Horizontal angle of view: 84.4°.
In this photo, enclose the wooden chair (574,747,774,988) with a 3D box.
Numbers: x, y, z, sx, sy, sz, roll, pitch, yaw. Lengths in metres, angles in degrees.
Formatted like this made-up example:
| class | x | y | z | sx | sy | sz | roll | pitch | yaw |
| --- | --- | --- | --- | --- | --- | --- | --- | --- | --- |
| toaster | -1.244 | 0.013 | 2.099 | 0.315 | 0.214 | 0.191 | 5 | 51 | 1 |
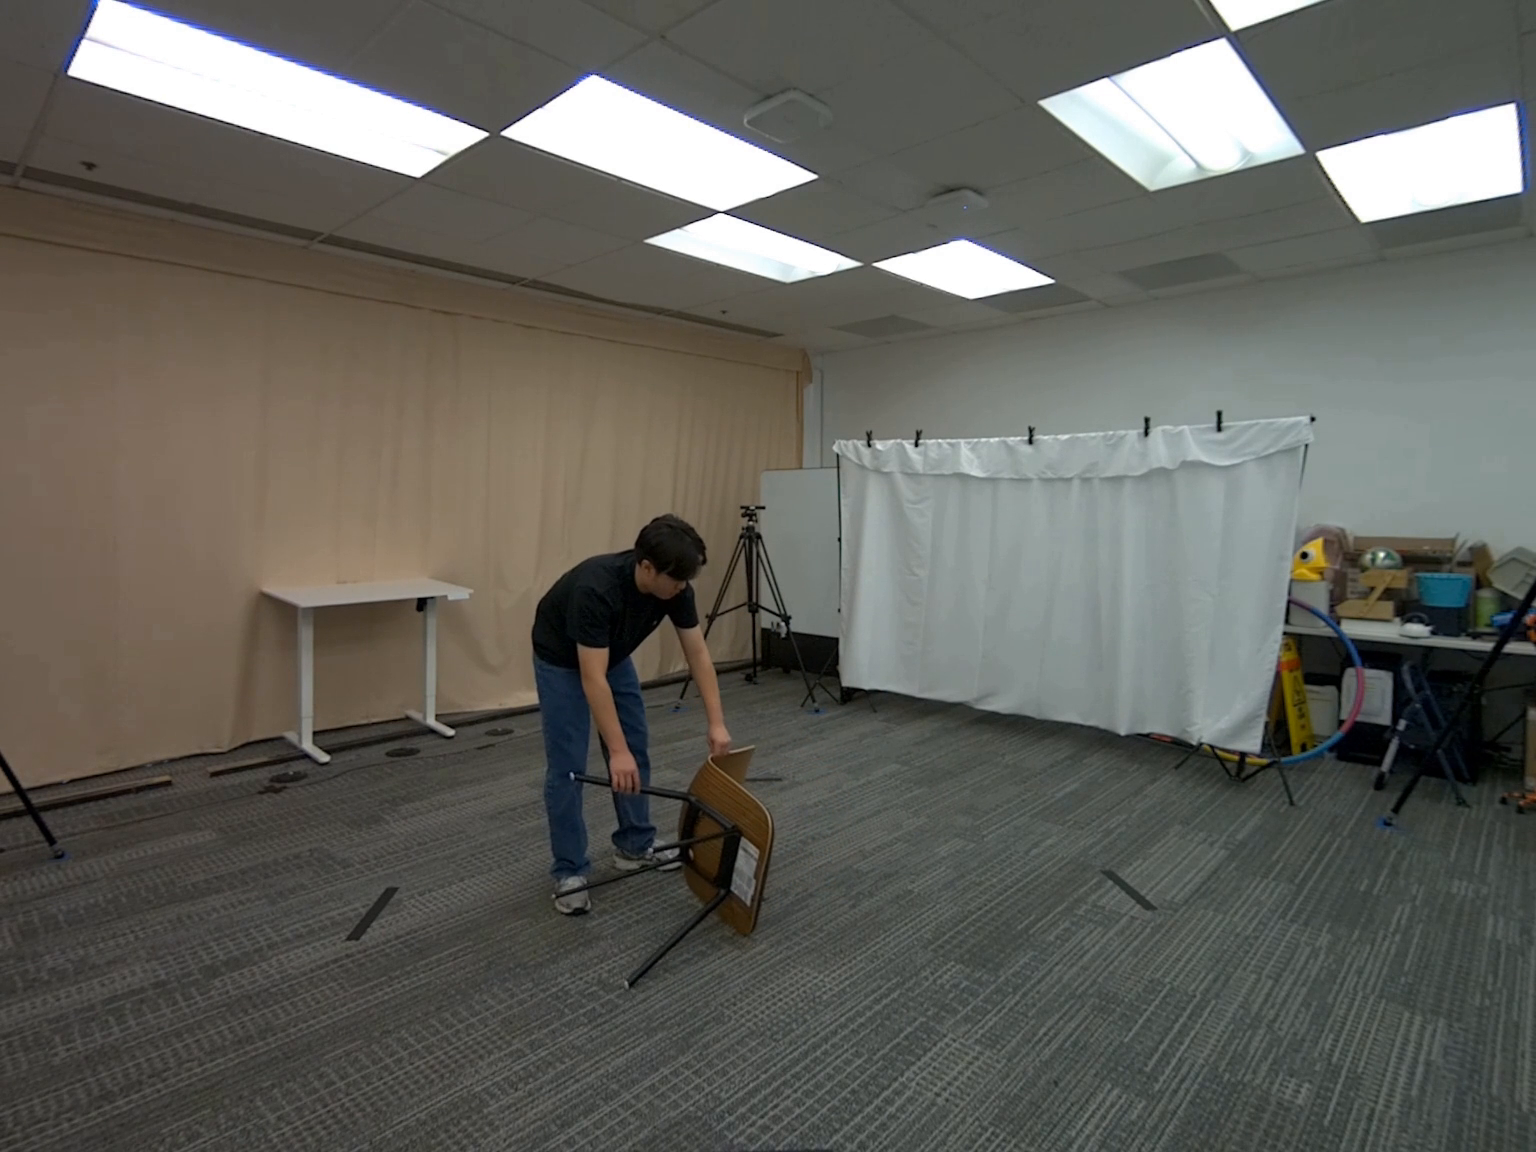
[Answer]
| class | x | y | z | sx | sy | sz | roll | pitch | yaw |
| --- | --- | --- | --- | --- | --- | --- | --- | --- | --- |
| wooden chair | -0.196 | 0.903 | 2.805 | 0.542 | 0.475 | 0.850 | 21 | 16 | 41 |
